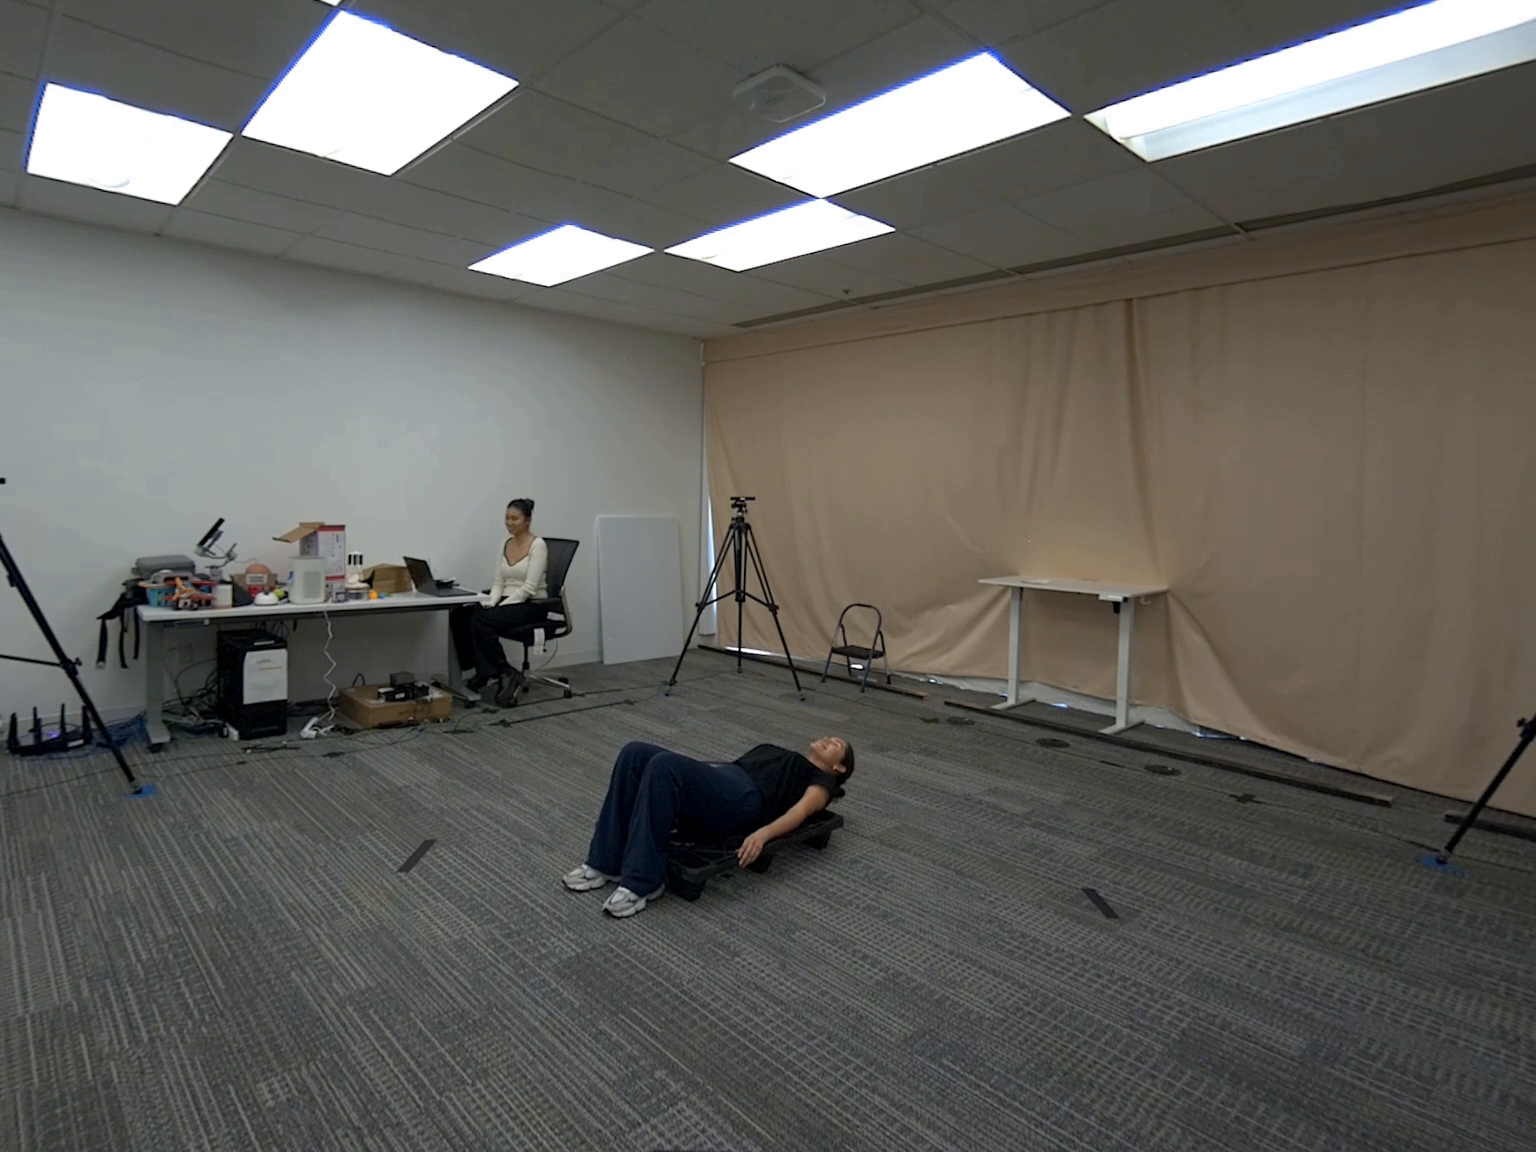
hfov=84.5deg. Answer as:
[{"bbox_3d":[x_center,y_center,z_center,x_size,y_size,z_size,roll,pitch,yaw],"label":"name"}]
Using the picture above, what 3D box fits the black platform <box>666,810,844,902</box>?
[{"bbox_3d":[-0.189,1.028,3.301,0.621,0.143,0.787,7,7,44],"label":"black platform"}]
